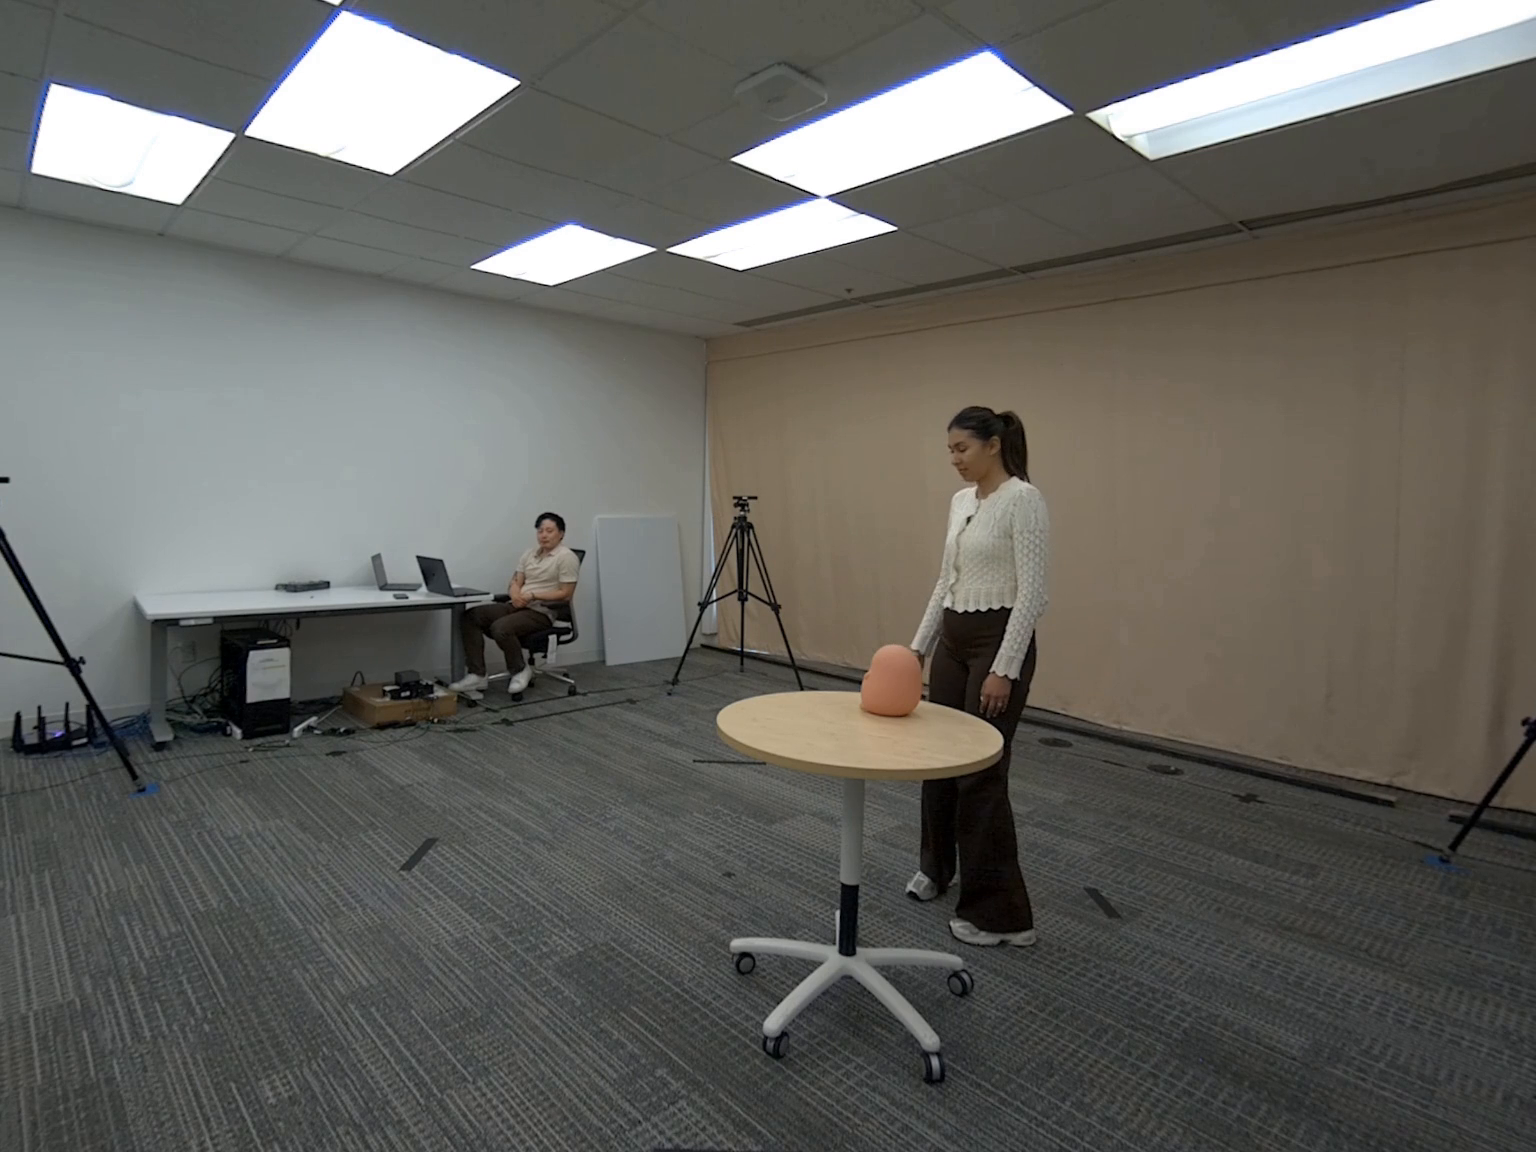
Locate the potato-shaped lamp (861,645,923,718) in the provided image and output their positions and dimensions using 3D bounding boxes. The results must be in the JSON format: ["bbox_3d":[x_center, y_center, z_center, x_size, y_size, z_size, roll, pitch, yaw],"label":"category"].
[{"bbox_3d":[0.349,0.299,2.422,0.176,0.198,0.161,8,5,43],"label":"potato-shaped lamp"}]
